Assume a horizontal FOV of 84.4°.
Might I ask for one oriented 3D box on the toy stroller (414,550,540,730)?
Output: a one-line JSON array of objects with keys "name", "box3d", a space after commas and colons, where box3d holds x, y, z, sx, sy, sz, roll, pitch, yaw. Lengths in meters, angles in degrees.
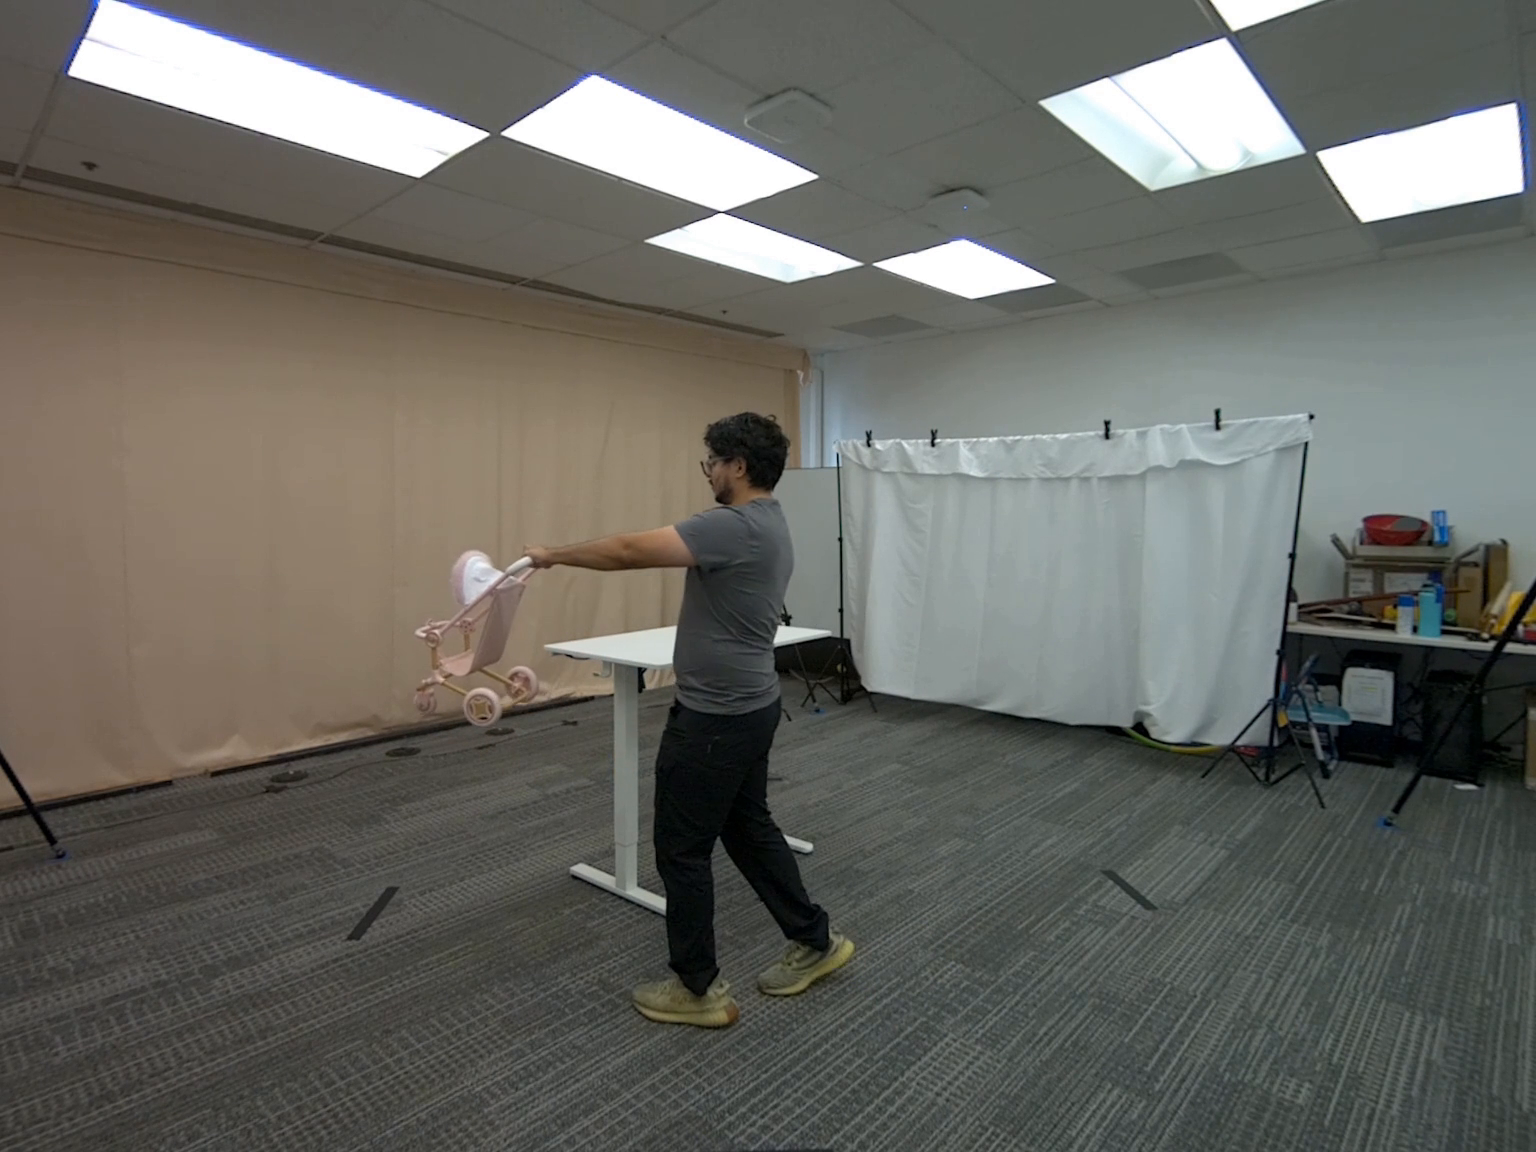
[{"name": "toy stroller", "box3d": [-0.840, 0.171, 2.400, 0.348, 0.533, 0.277, 11, 7, 15]}]
